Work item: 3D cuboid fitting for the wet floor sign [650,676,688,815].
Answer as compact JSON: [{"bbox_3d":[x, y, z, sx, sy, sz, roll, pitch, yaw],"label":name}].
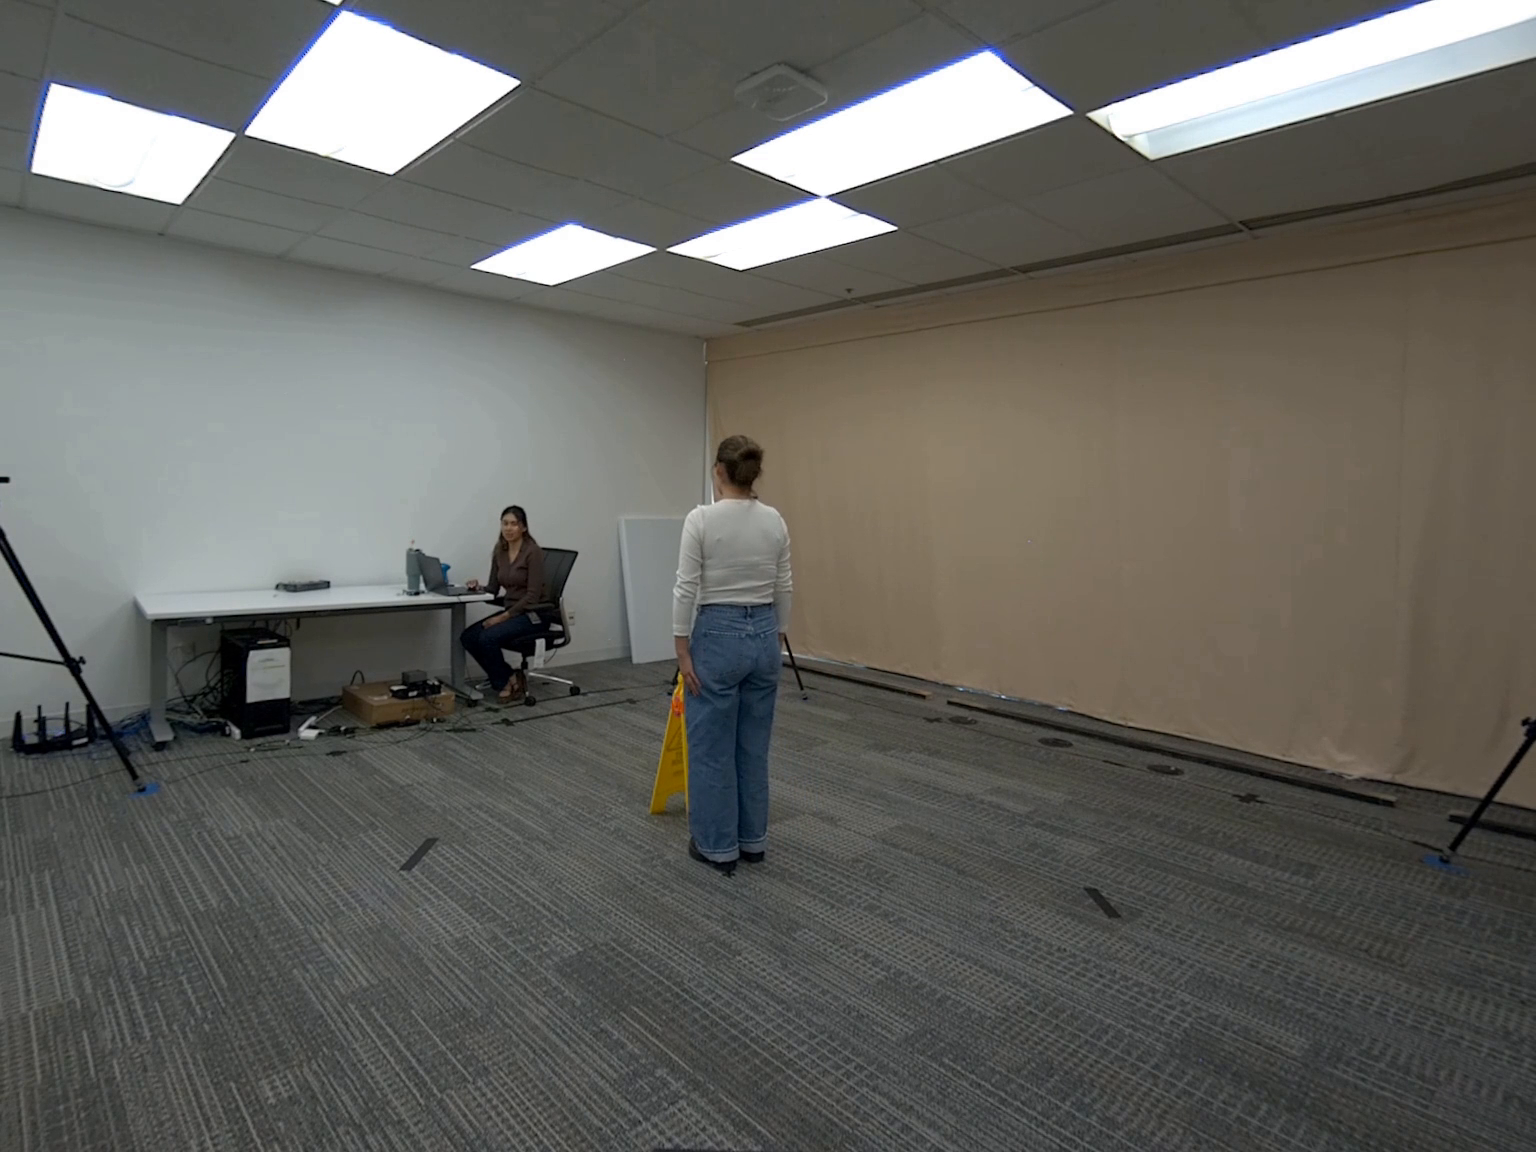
[{"bbox_3d":[-0.315,0.729,3.657,0.297,0.644,0.276,6,6,44],"label":"wet floor sign"}]
